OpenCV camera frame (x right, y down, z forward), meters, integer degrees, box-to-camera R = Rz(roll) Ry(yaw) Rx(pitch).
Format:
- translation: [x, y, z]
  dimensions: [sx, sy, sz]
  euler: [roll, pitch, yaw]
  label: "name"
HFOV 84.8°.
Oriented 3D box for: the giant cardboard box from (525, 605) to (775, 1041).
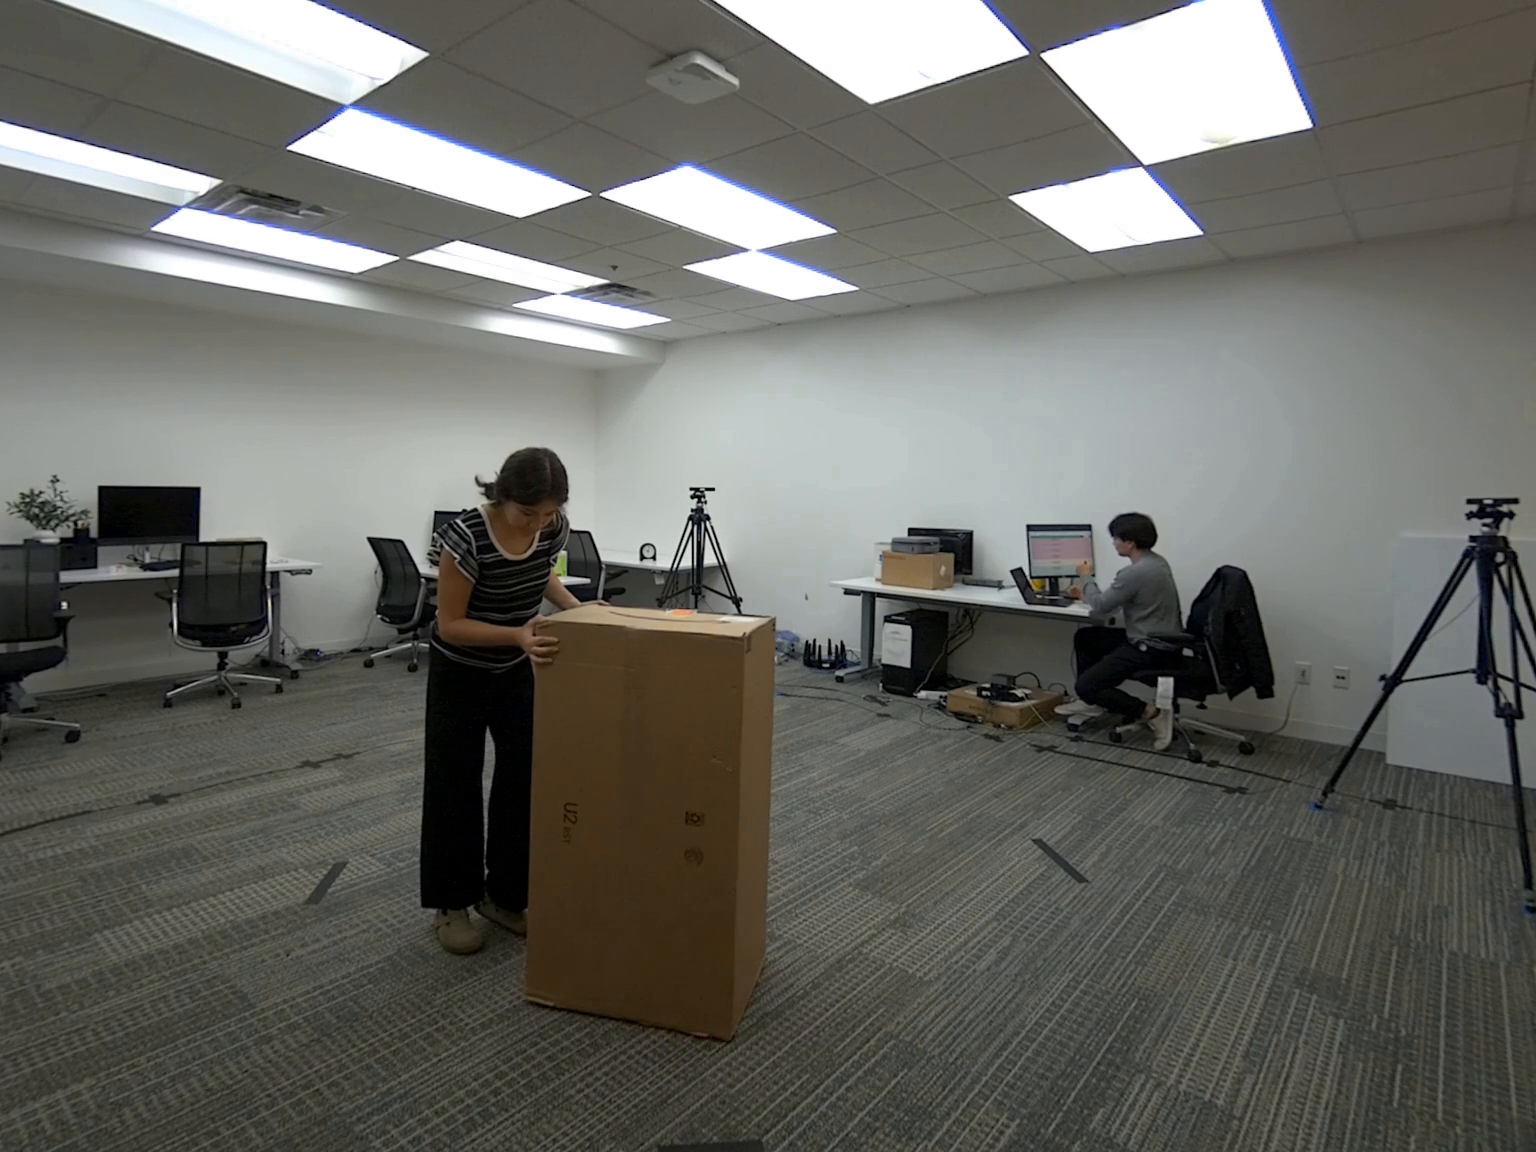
- translation: [-0.323, 0.629, 2.389]
  dimensions: [0.587, 1.024, 0.420]
  euler: [2, 2, 15]
  label: "giant cardboard box"
